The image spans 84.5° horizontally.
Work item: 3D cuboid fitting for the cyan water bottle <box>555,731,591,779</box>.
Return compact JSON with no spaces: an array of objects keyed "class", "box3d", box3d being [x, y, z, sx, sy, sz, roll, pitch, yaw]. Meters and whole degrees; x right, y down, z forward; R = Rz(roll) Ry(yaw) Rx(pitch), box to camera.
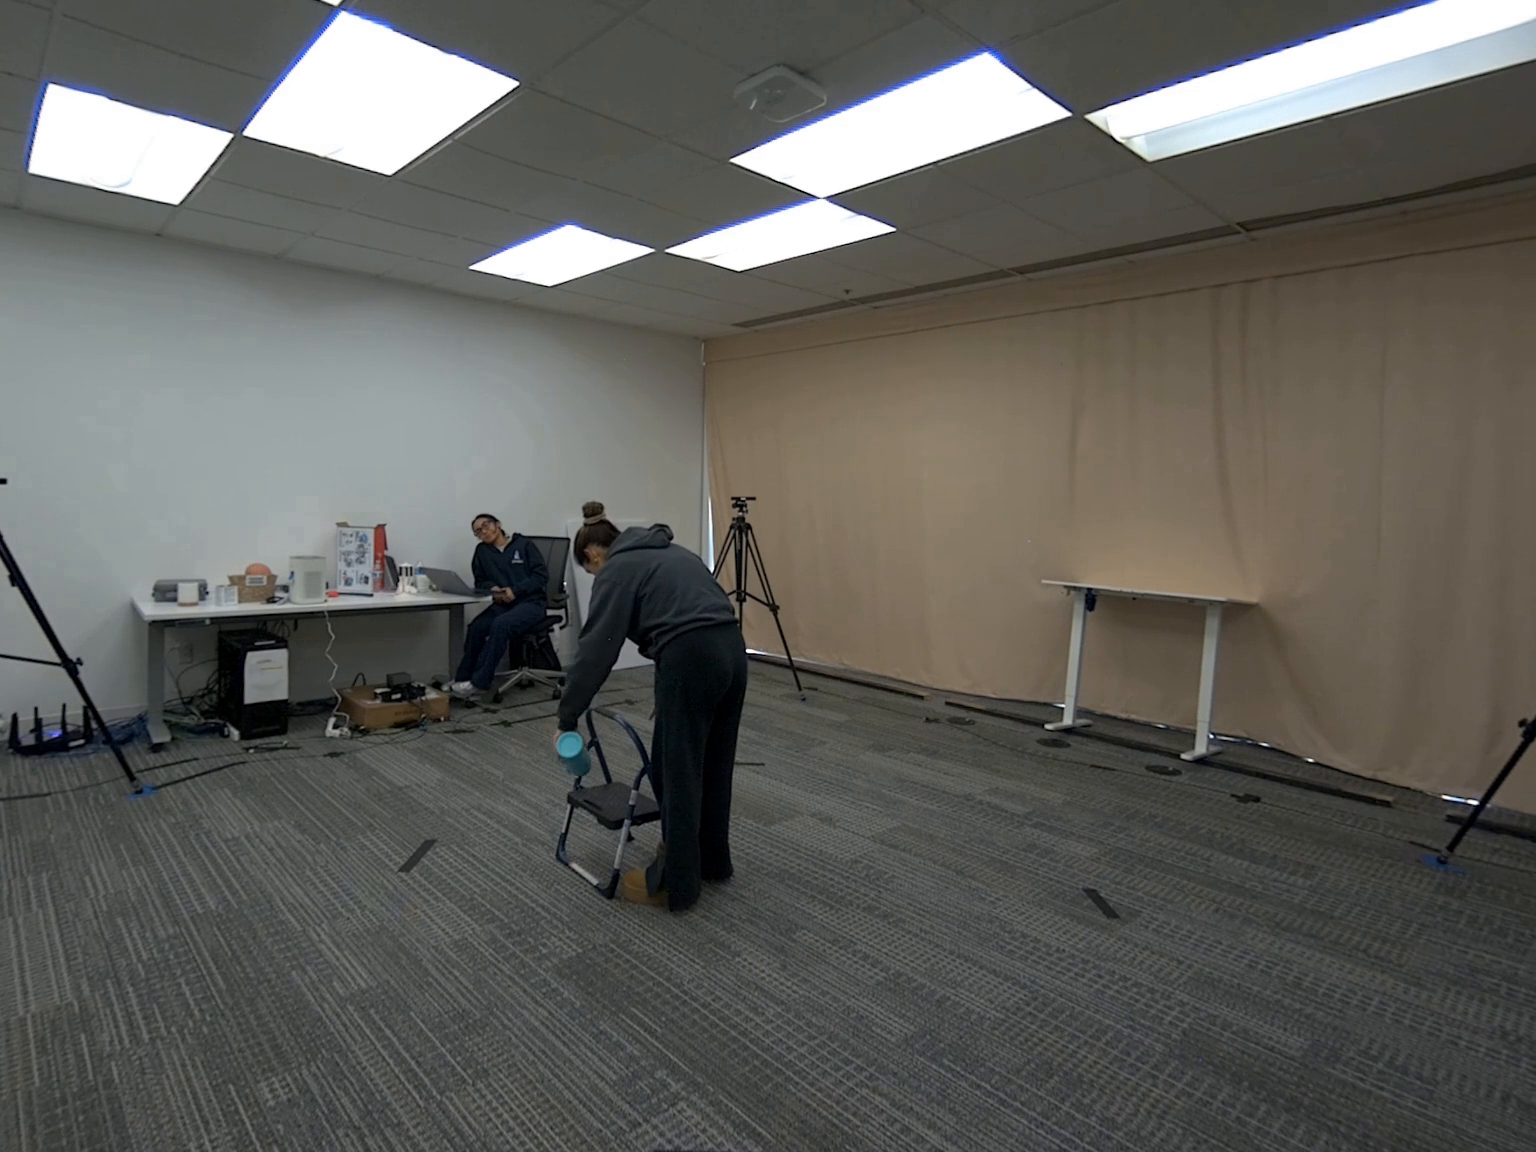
[{"class":"cyan water bottle","box3d":[-0.661,0.612,2.922,0.092,0.094,0.279,1,-27,-6]}]
